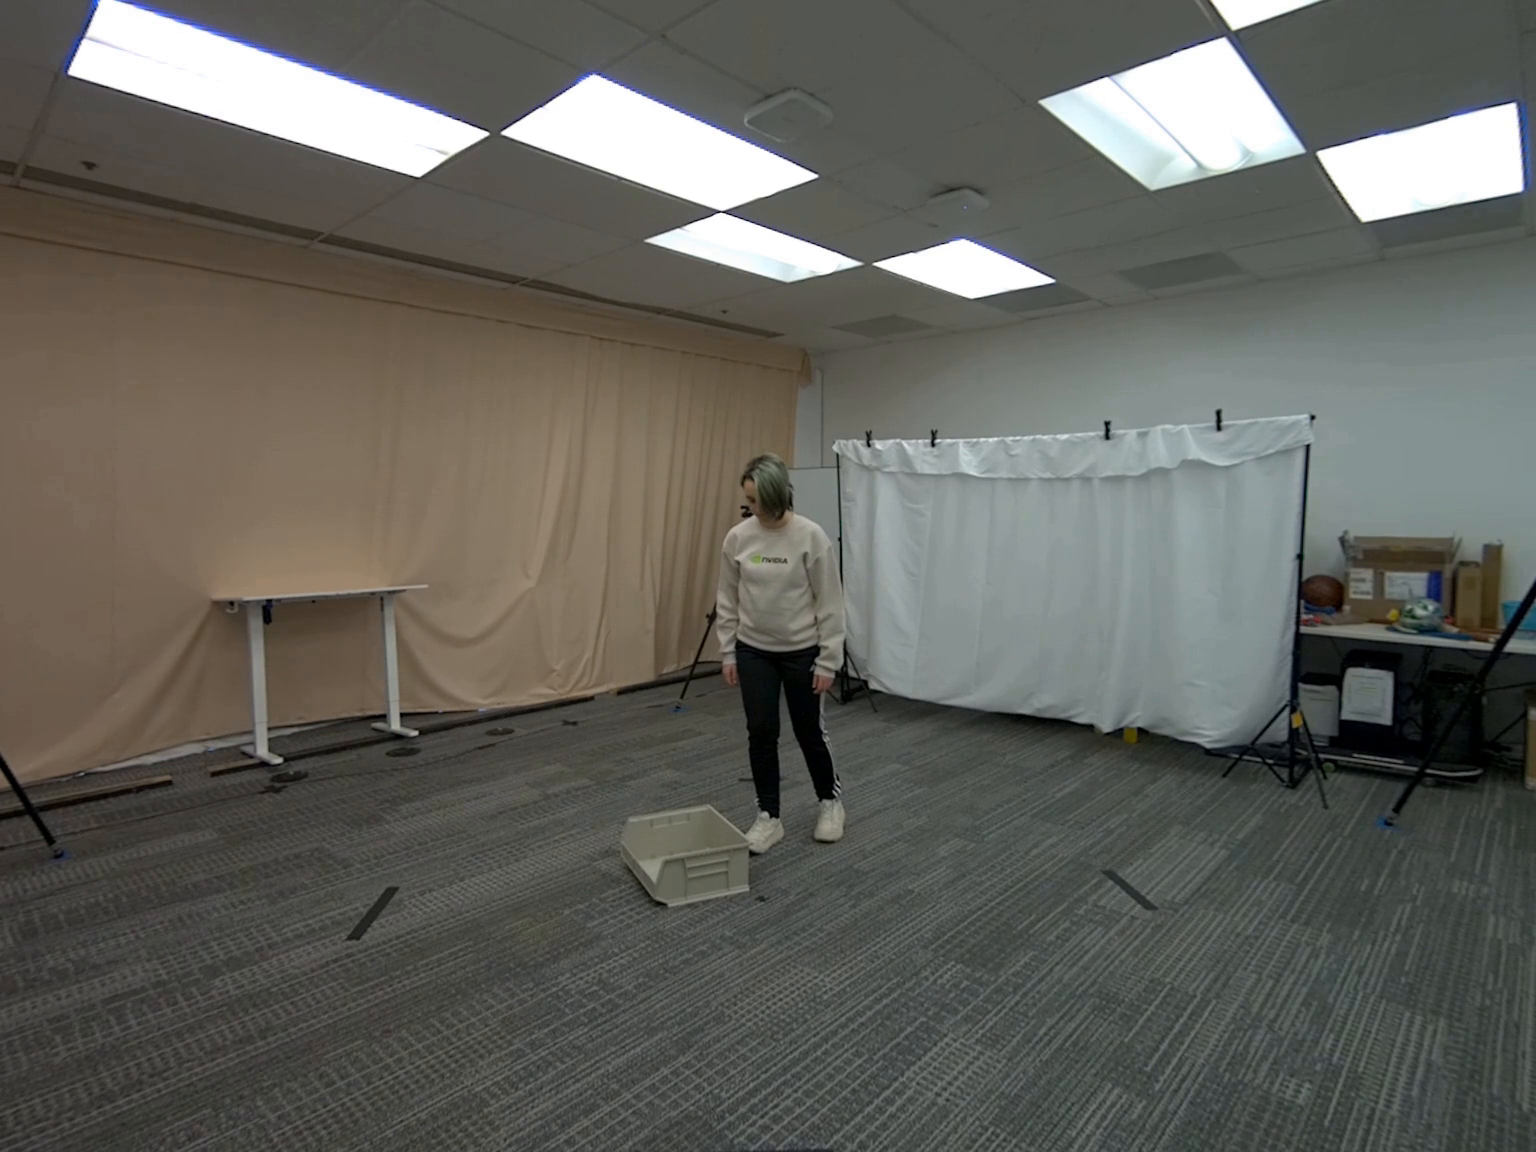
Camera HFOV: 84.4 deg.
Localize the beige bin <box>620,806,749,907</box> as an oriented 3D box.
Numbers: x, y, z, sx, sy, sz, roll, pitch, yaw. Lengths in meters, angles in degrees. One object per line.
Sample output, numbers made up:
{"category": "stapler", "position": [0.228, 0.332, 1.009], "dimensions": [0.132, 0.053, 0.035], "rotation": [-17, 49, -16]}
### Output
{"category": "beige bin", "position": [-0.316, 1.044, 3.158], "dimensions": [0.368, 0.188, 0.433], "rotation": [-2, 4, -25]}
